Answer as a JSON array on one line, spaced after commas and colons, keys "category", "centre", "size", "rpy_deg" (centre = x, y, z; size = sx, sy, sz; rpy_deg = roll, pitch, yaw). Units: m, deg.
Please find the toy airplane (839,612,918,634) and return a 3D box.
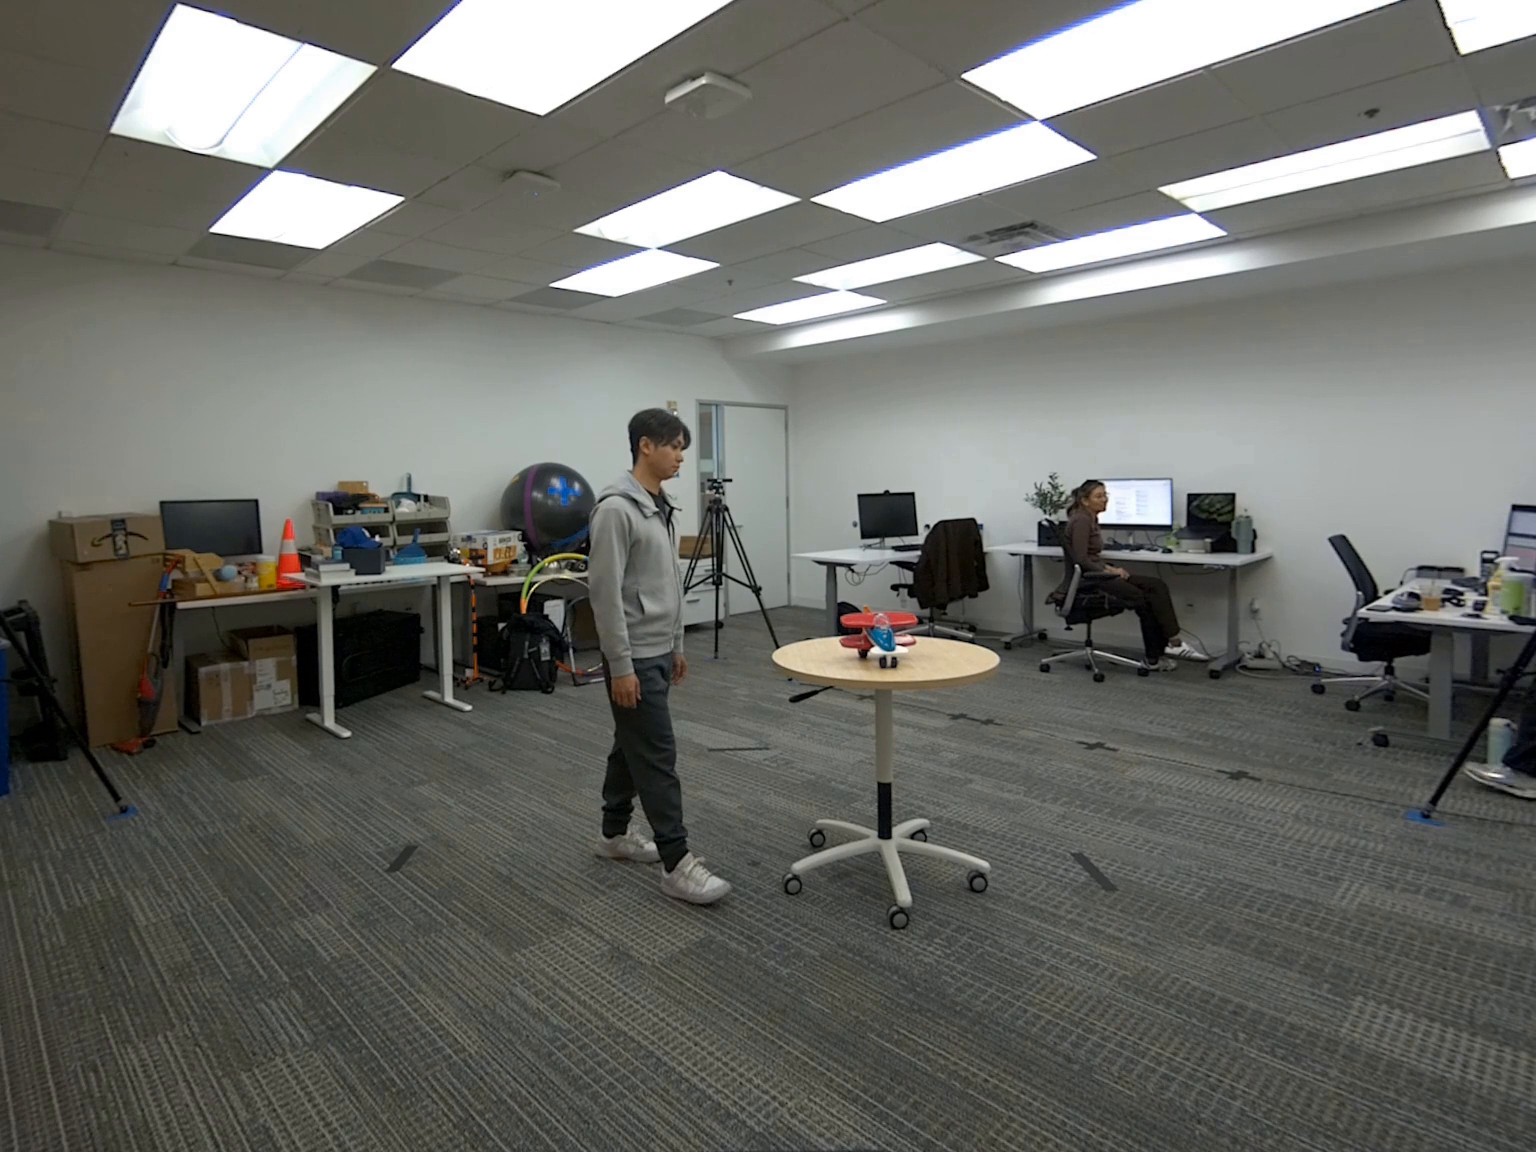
[{"category": "toy airplane", "centre": [0.395, 0.209, 2.826], "size": [0.245, 0.156, 0.266], "rpy_deg": [-4, 5, -28]}]
